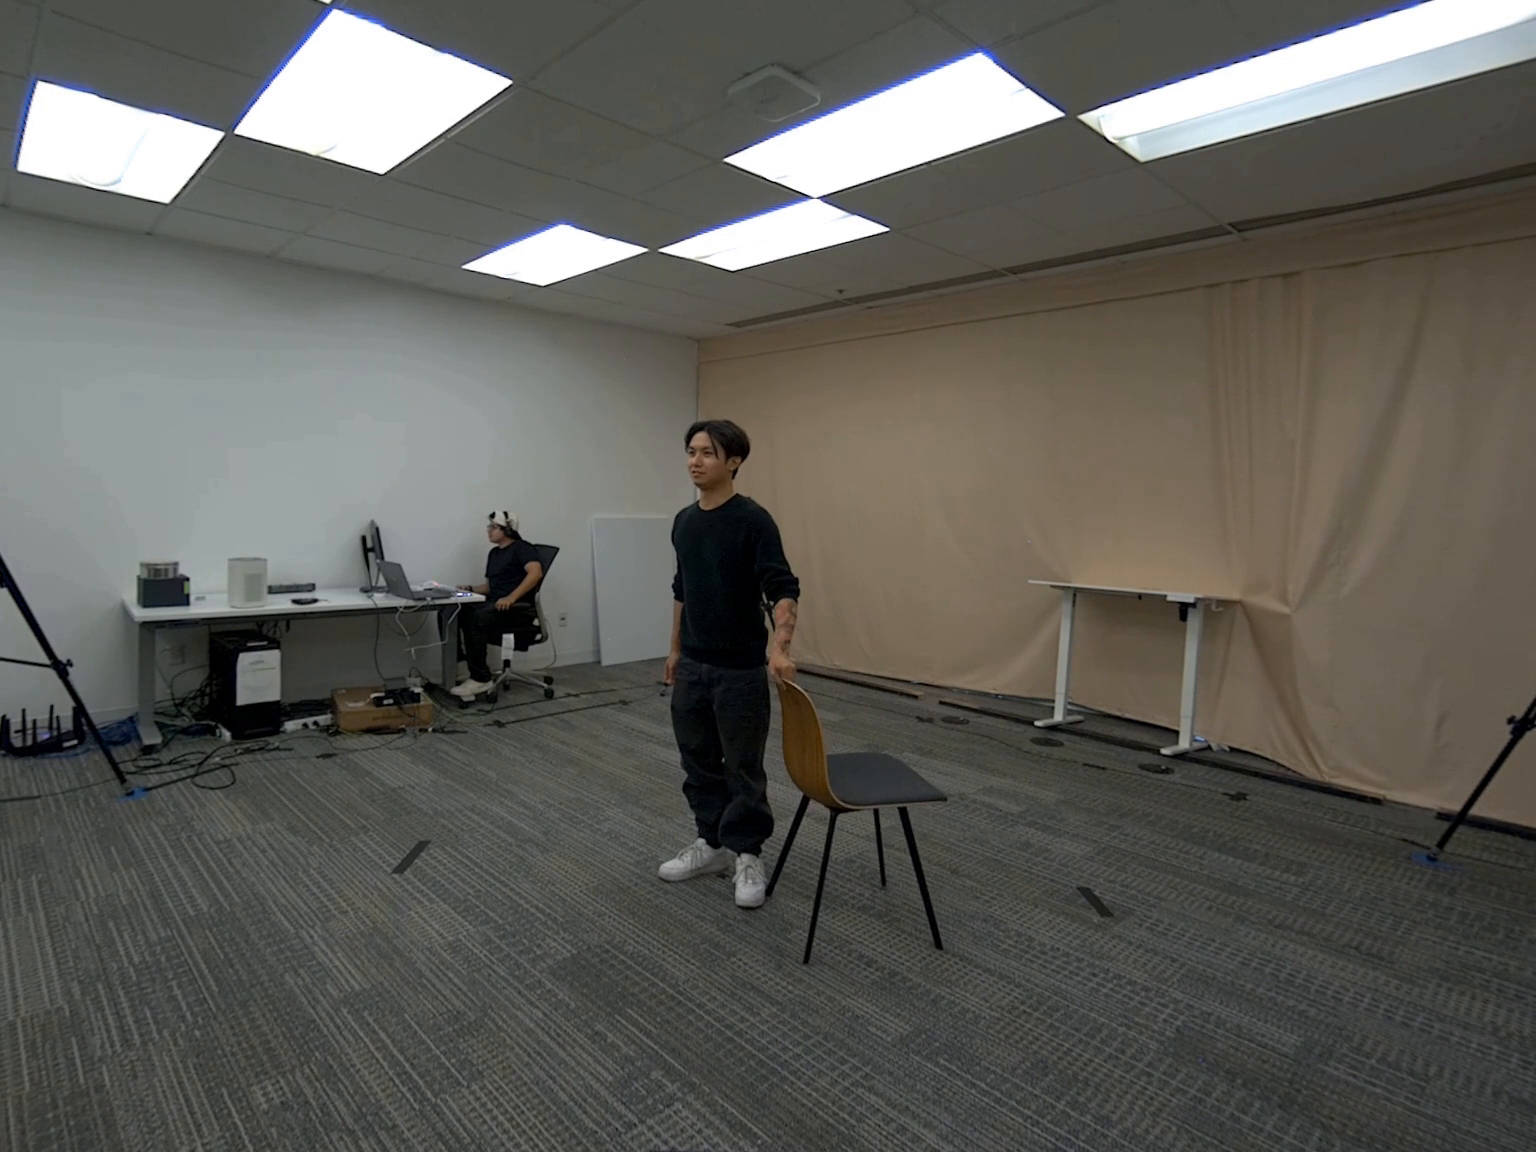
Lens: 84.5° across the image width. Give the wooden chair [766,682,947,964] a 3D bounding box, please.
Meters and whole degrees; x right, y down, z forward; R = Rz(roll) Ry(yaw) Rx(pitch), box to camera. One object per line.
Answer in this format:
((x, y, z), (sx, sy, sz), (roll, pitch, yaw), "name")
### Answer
((0.282, 0.722, 2.758), (0.518, 0.875, 0.484), (-4, 4, -15), "wooden chair")
